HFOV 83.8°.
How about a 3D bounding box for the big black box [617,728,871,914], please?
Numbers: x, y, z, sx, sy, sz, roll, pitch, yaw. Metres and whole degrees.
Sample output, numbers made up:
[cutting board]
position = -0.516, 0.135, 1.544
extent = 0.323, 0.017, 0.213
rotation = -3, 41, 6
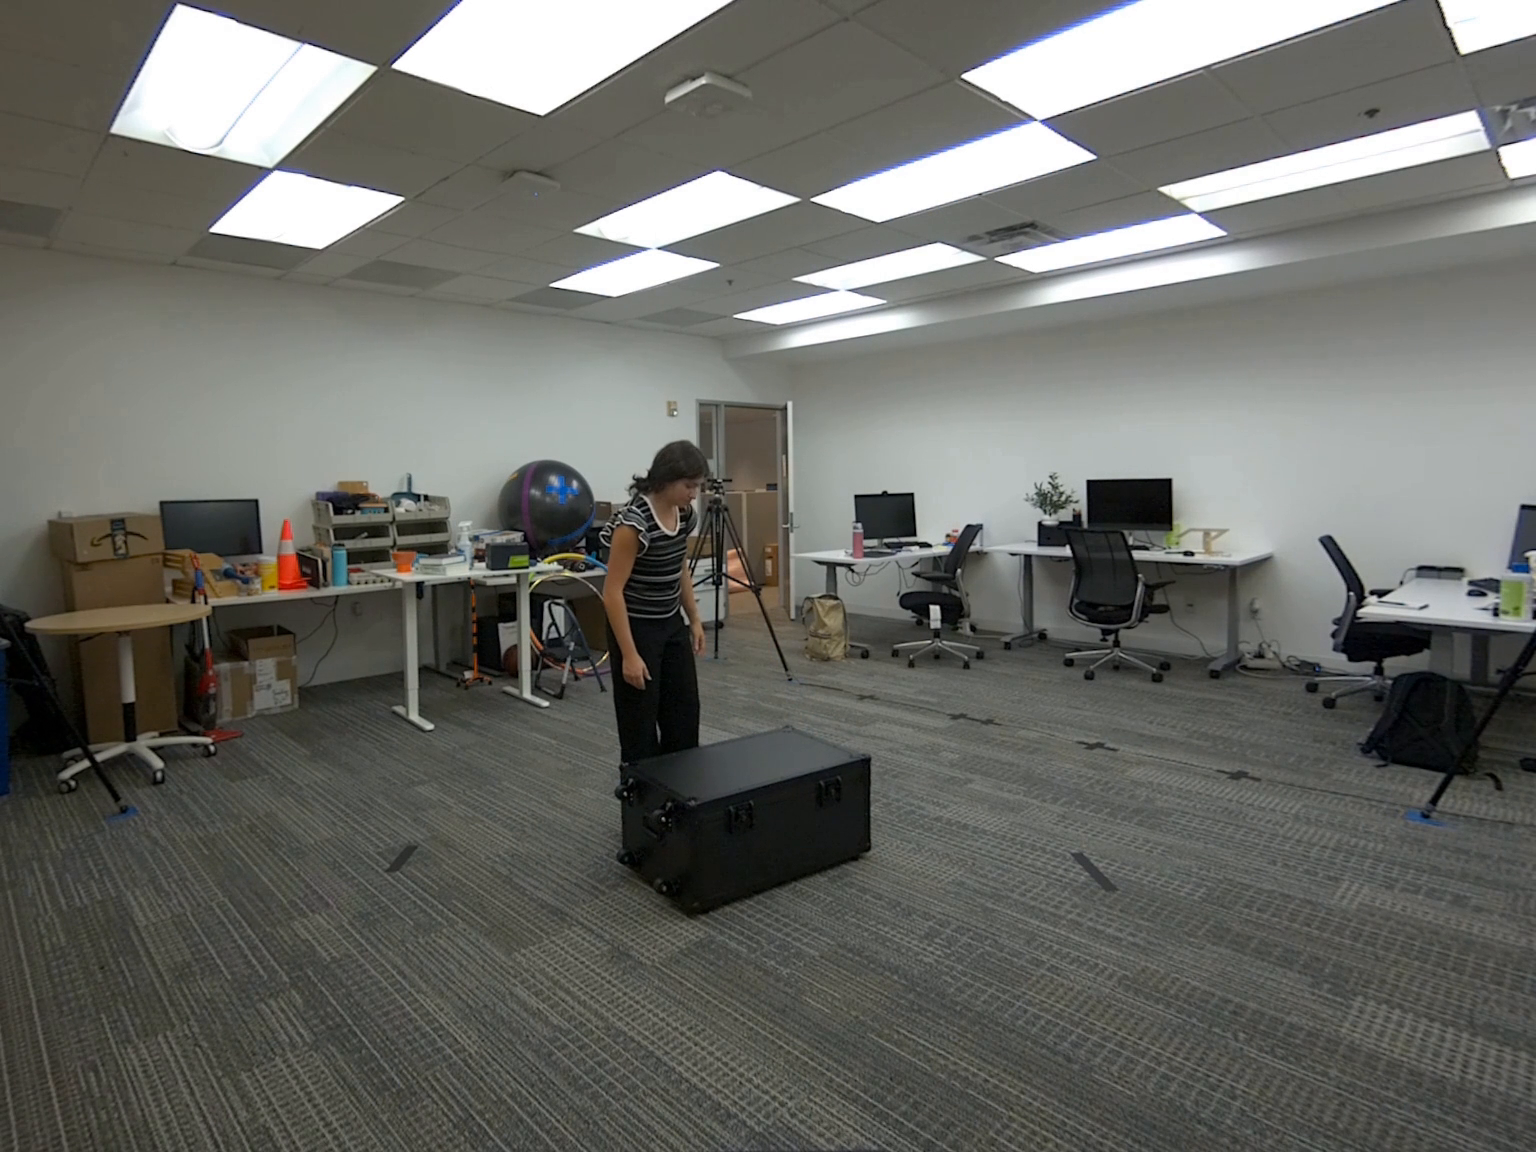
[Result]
[big black box]
position = -0.102, 0.856, 3.093
extent = 0.840, 0.395, 0.537
rotation = -4, 6, -35
